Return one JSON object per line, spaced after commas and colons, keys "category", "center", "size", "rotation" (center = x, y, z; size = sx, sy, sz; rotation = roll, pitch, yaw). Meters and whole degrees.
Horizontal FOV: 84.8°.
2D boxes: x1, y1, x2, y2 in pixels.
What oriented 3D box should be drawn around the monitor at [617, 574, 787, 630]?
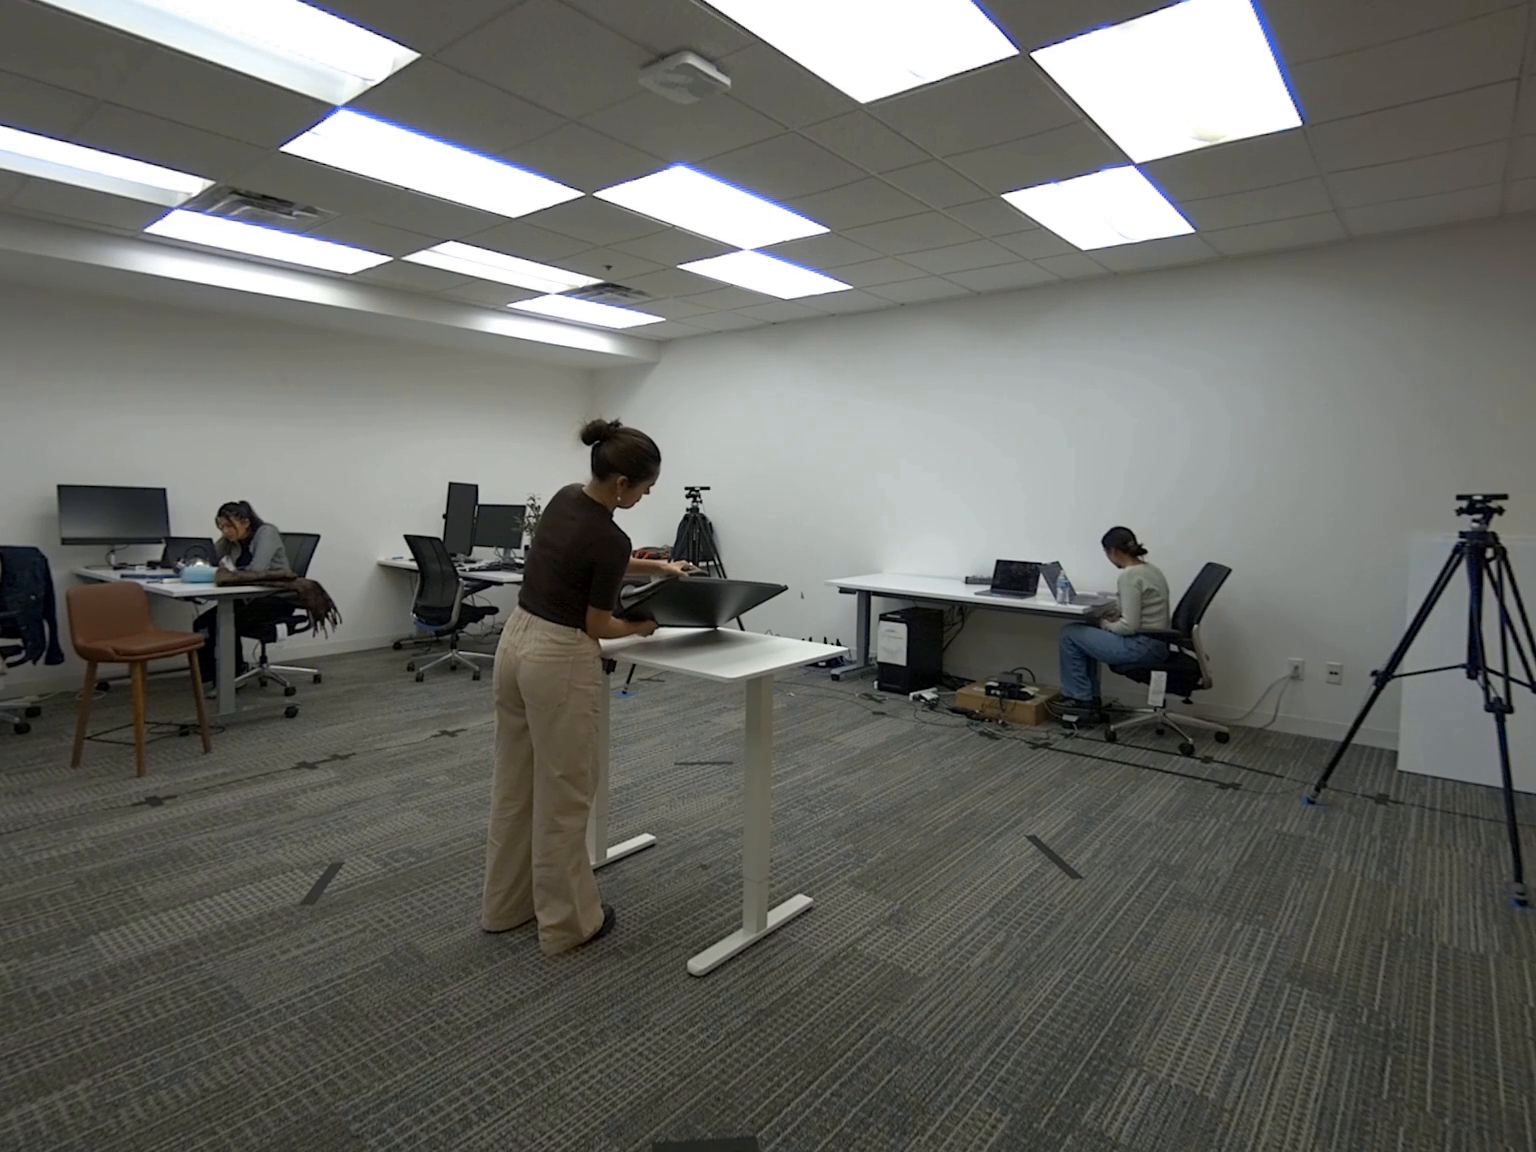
{"category": "monitor", "center": [-0.306, 0.076, 2.841], "size": [0.536, 0.188, 0.522], "rotation": [-10, -7, 39]}
